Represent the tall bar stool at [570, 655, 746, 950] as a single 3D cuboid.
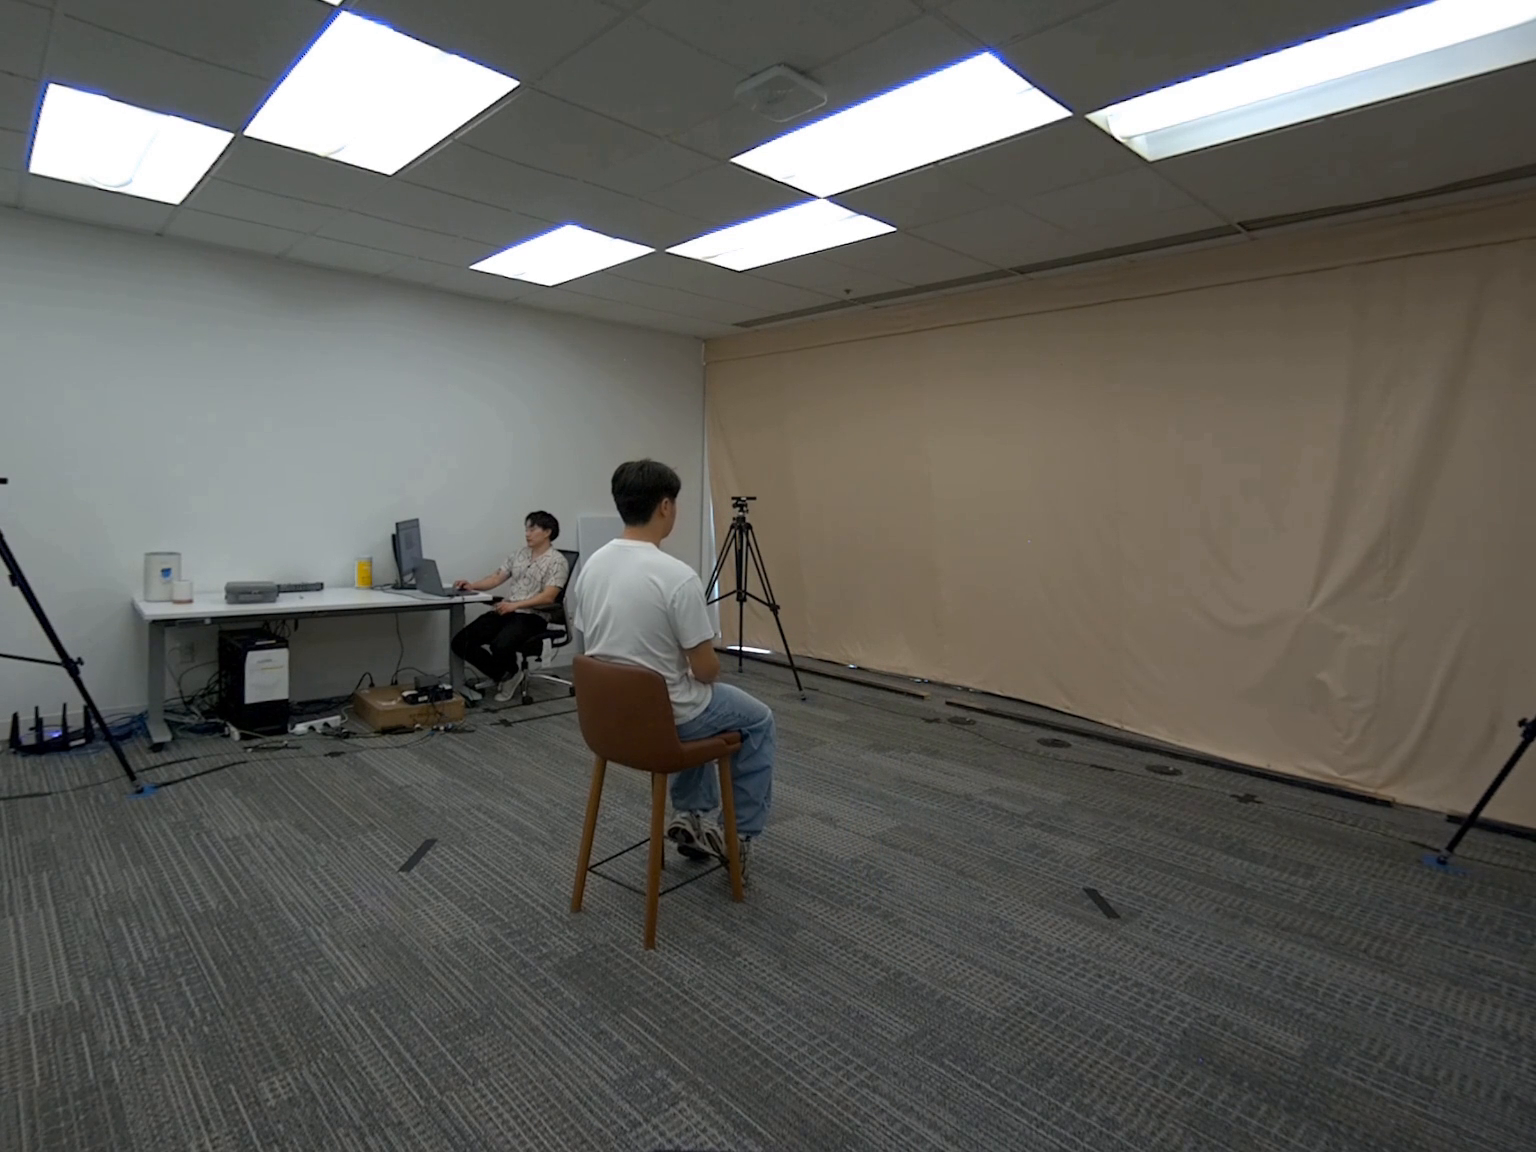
[{"bbox_3d":[-0.389,0.690,2.836,0.467,0.886,0.458,2,6,38],"label":"tall bar stool"}]
